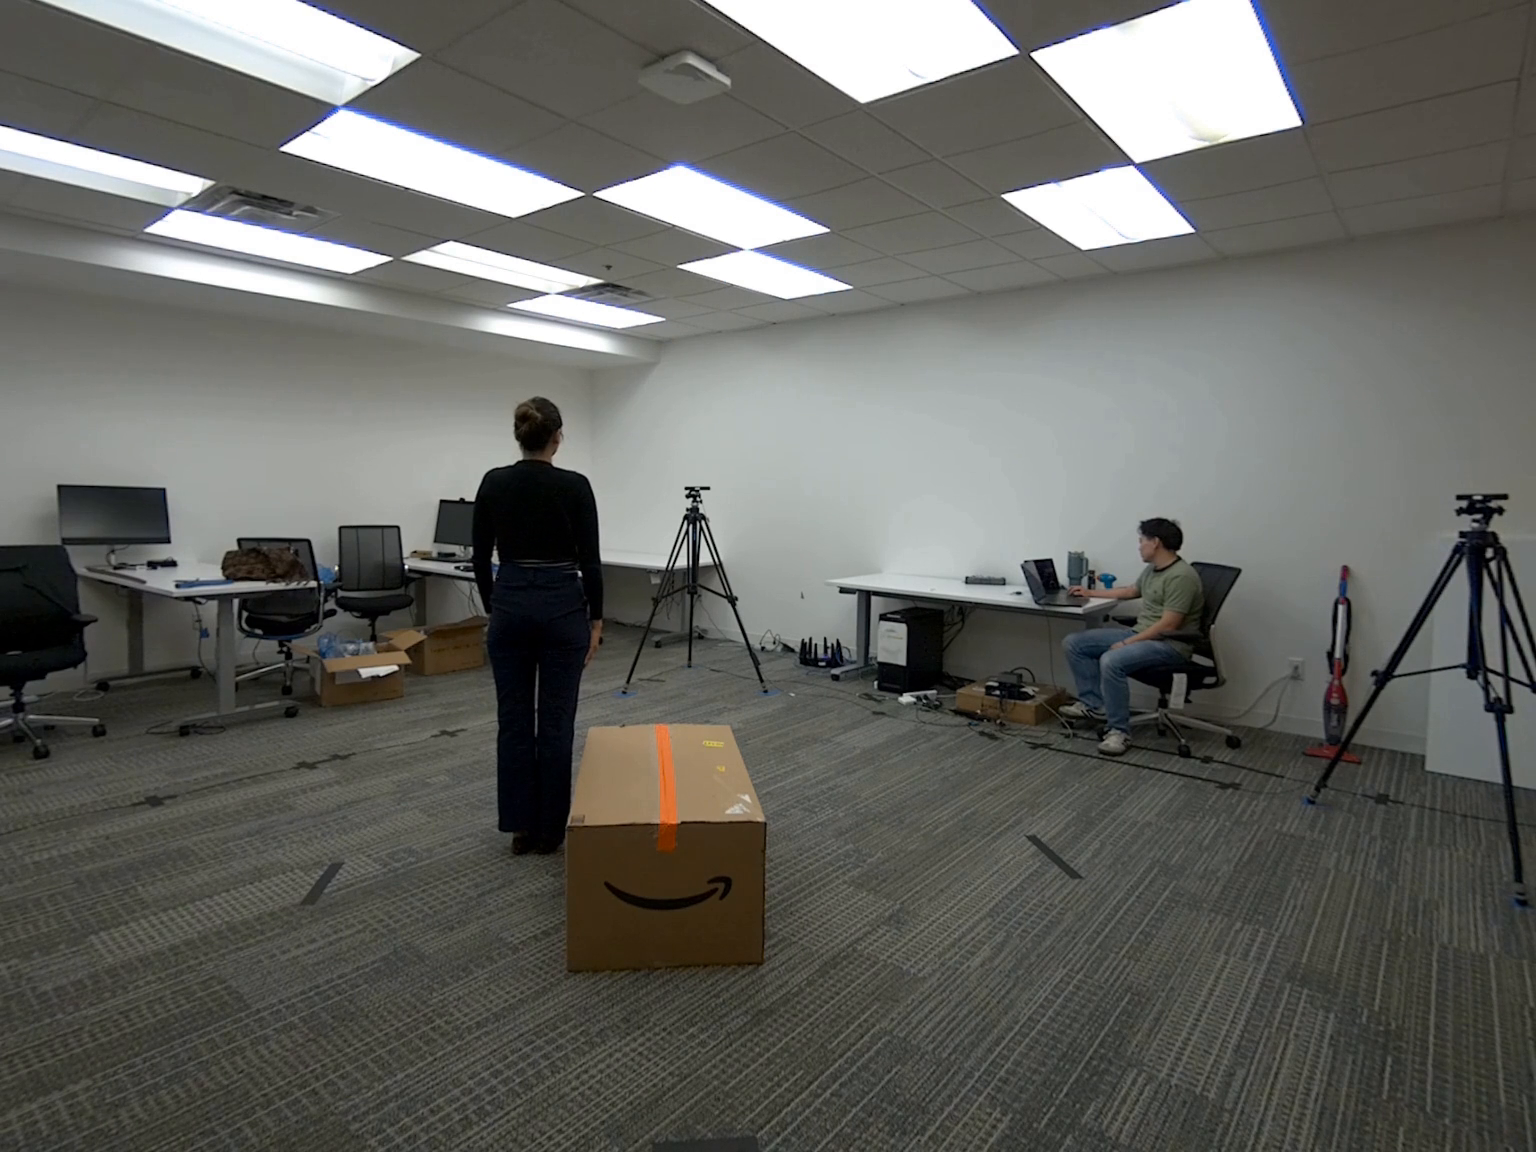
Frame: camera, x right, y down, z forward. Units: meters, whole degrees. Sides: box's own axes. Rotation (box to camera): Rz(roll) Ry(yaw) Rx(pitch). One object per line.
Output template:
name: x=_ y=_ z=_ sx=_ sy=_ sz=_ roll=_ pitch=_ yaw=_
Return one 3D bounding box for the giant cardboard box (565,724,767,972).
giant cardboard box: x=-0.376 y=0.863 z=2.940 sx=0.573 sy=0.425 sz=1.037 roll=1 pitch=5 yaw=-8
